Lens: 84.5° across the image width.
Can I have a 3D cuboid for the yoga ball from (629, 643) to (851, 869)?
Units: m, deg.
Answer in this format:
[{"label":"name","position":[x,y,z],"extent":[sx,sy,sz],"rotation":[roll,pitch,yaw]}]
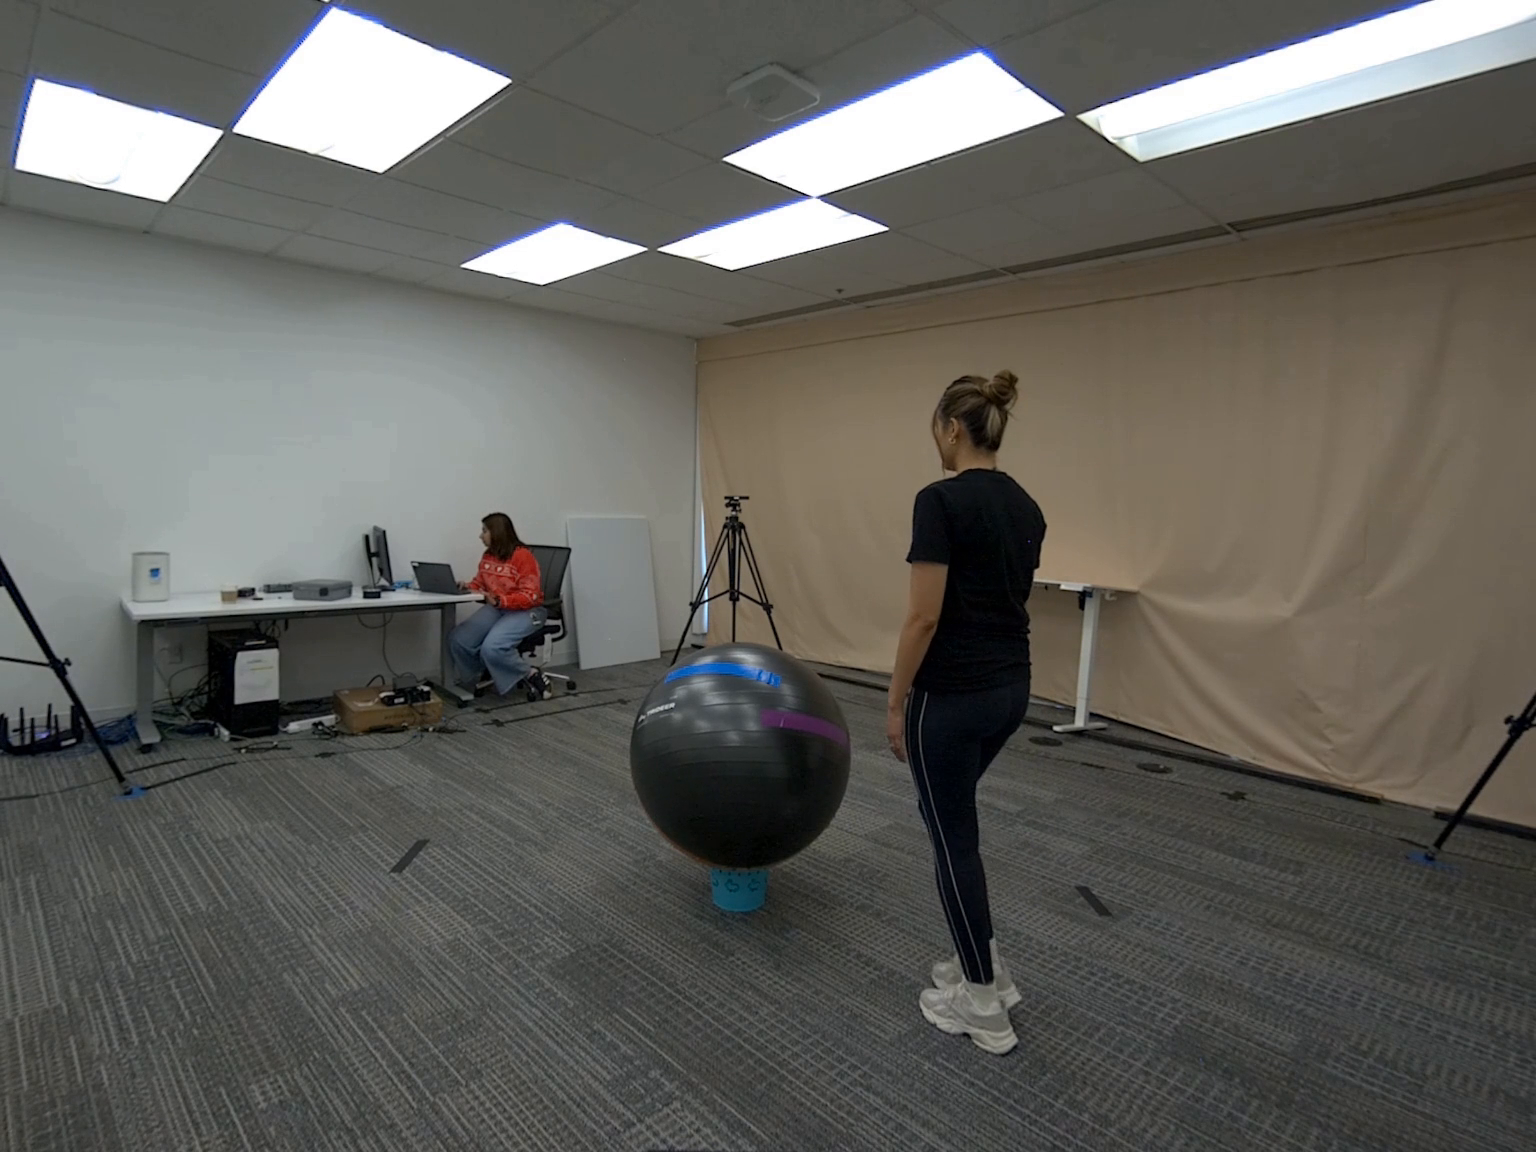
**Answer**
[{"label":"yoga ball","position":[-0.095,0.612,2.901],"extent":[0.757,0.756,0.761],"rotation":[1,4,-1]}]
